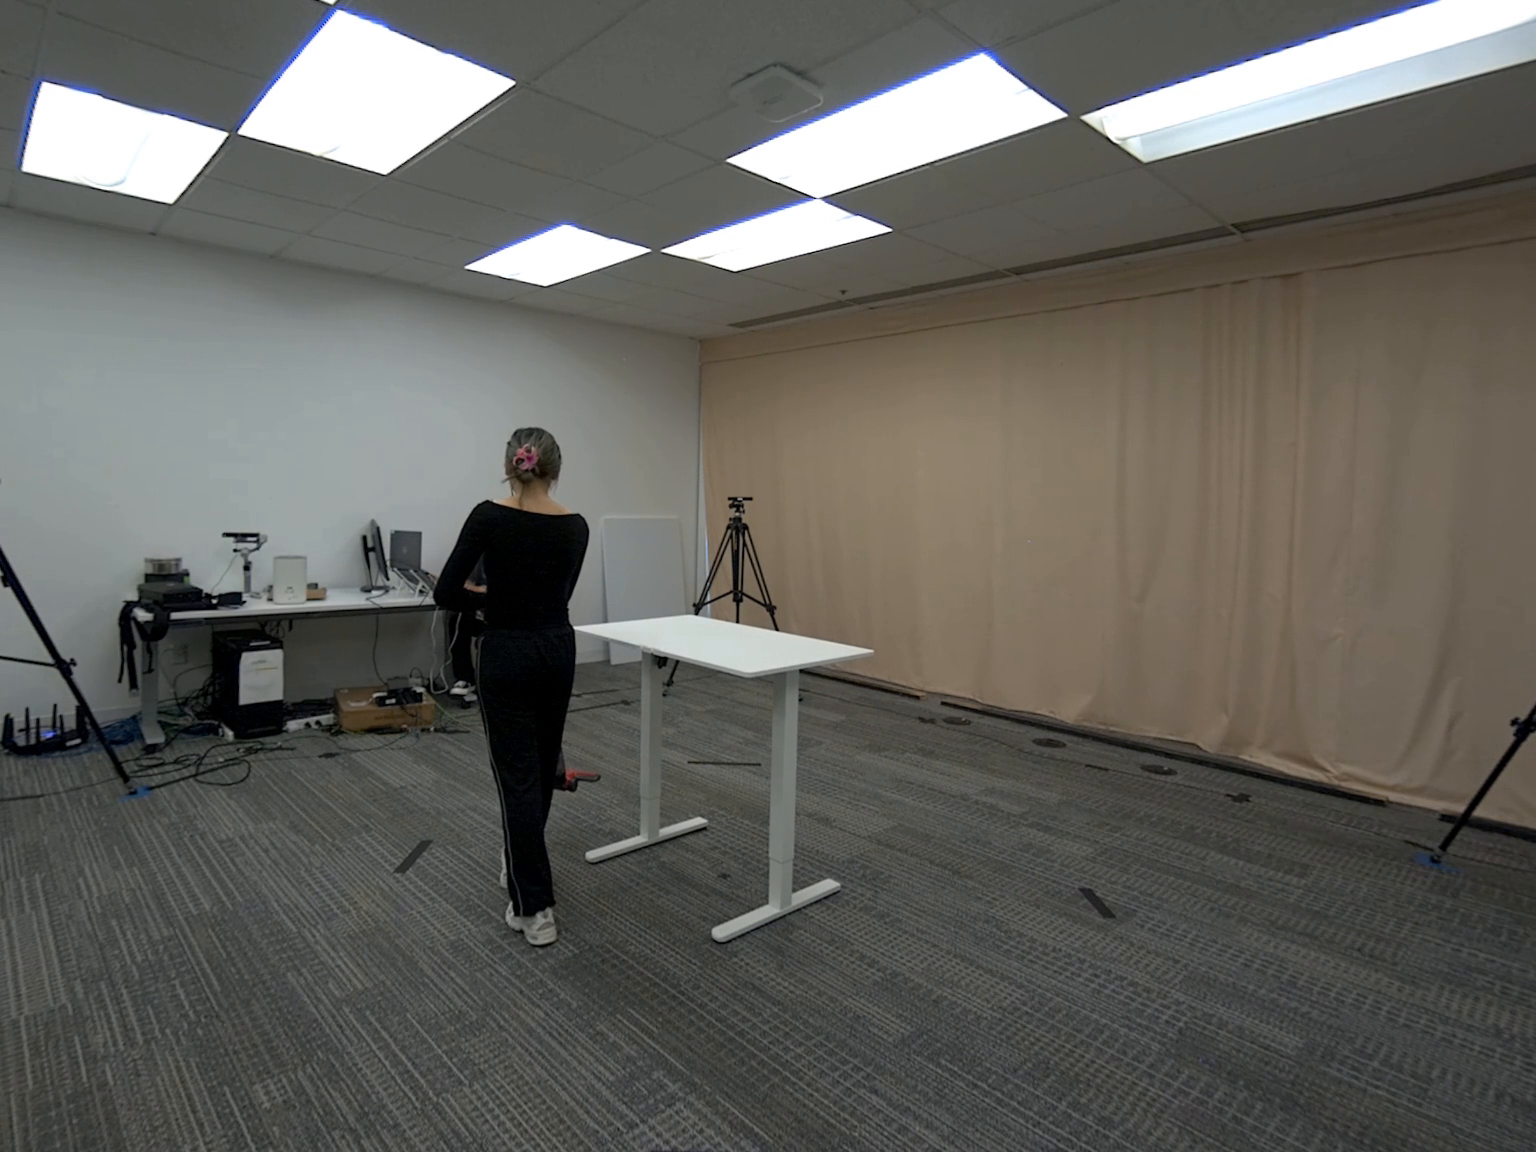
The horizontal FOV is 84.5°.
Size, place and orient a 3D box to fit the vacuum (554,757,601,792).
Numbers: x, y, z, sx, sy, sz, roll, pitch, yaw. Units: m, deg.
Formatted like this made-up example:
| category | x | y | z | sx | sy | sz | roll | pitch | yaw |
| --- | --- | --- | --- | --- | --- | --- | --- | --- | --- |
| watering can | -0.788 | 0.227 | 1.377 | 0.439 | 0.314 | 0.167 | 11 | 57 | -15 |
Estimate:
| category | x | y | z | sx | sy | sz | roll | pitch | yaw |
| --- | --- | --- | --- | --- | --- | --- | --- | --- | --- |
| vacuum | -0.884 | 0.471 | 3.089 | 0.257 | 1.023 | 0.145 | 13 | 46 | 21 |
